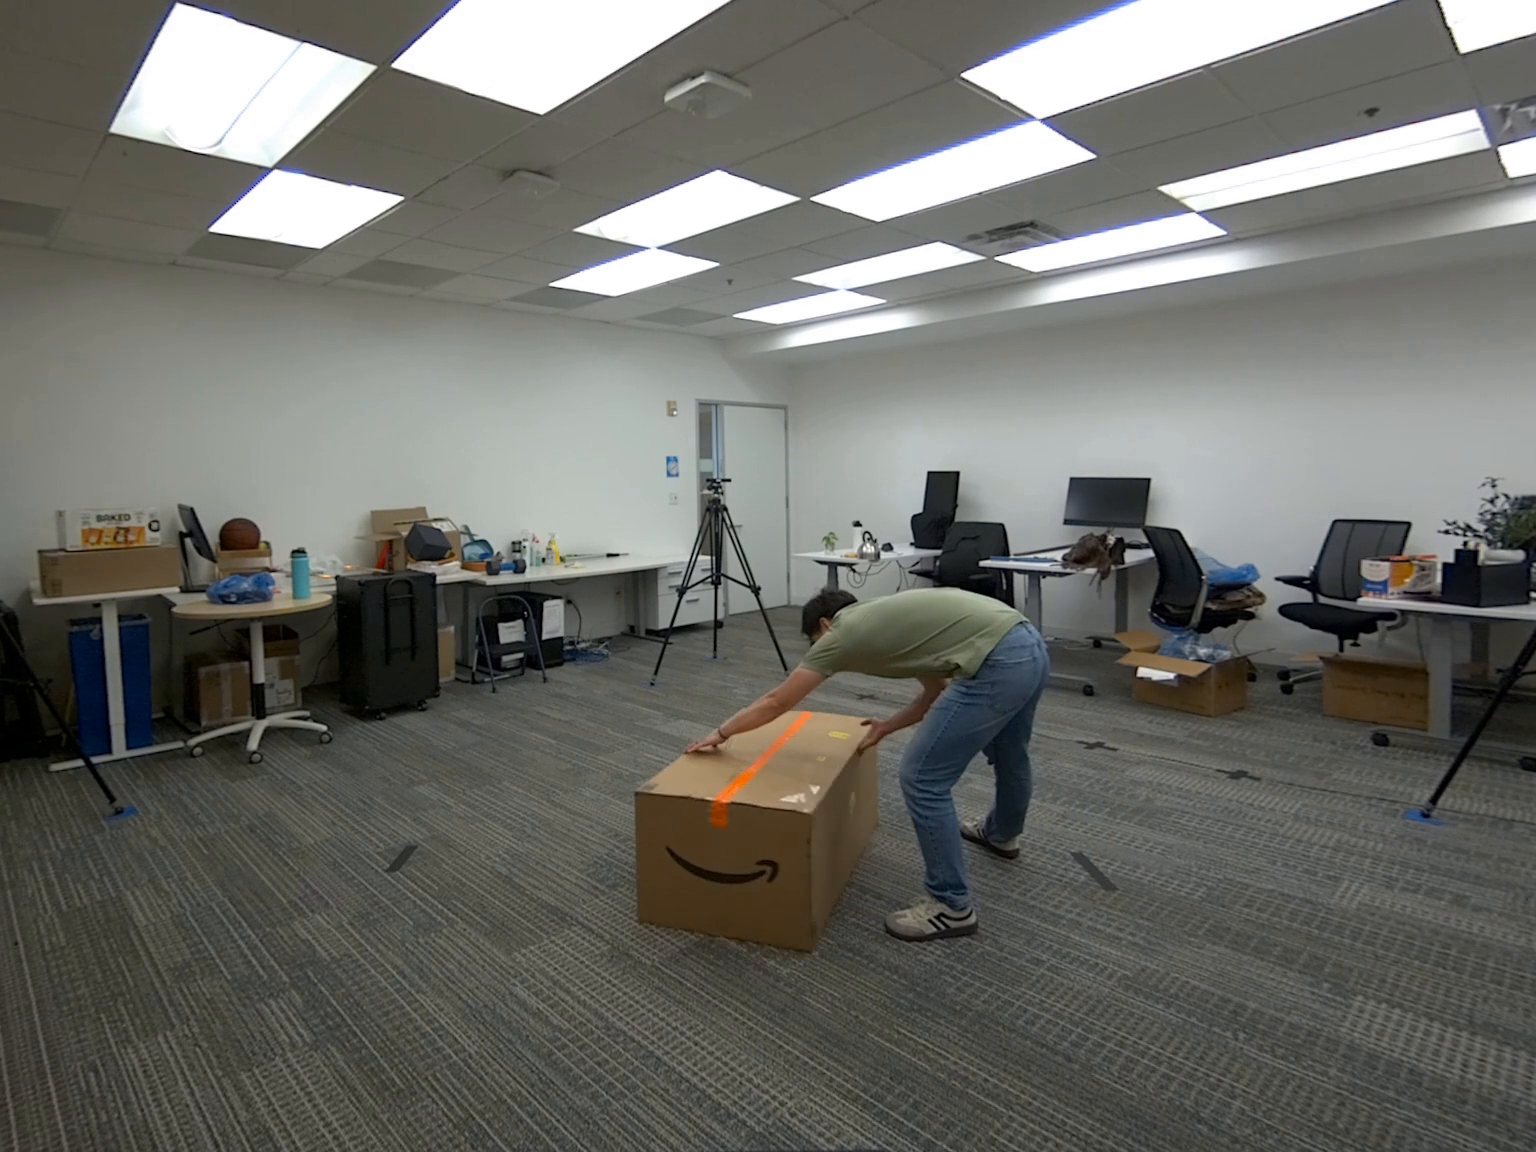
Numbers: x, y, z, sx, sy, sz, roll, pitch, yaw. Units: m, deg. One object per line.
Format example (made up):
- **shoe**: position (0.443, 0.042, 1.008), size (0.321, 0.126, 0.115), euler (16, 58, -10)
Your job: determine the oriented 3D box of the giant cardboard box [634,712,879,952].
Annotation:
- **giant cardboard box**: position (0.007, 0.830, 3.071), size (0.588, 0.424, 1.011), euler (2, 7, 19)
